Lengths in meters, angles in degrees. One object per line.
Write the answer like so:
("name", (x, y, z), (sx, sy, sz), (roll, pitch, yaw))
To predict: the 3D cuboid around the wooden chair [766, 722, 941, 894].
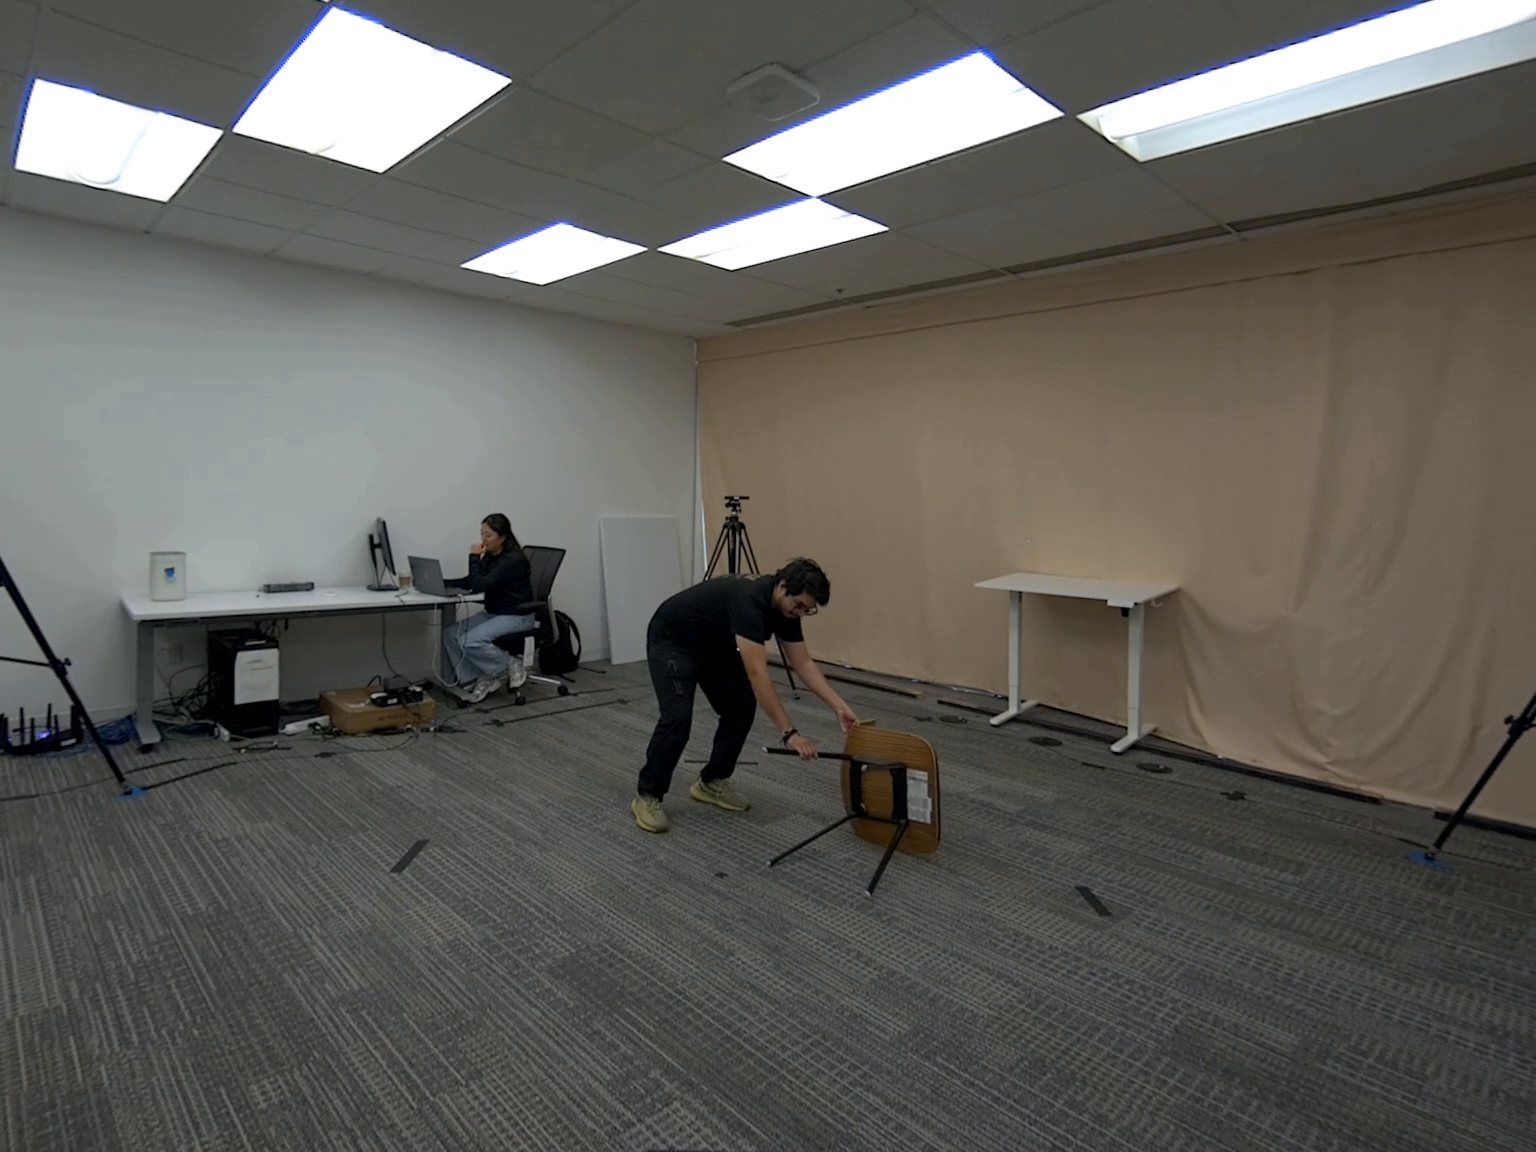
("wooden chair", (0.425, 0.856, 3.360), (0.535, 0.478, 0.858), (-1, 1, 35))
